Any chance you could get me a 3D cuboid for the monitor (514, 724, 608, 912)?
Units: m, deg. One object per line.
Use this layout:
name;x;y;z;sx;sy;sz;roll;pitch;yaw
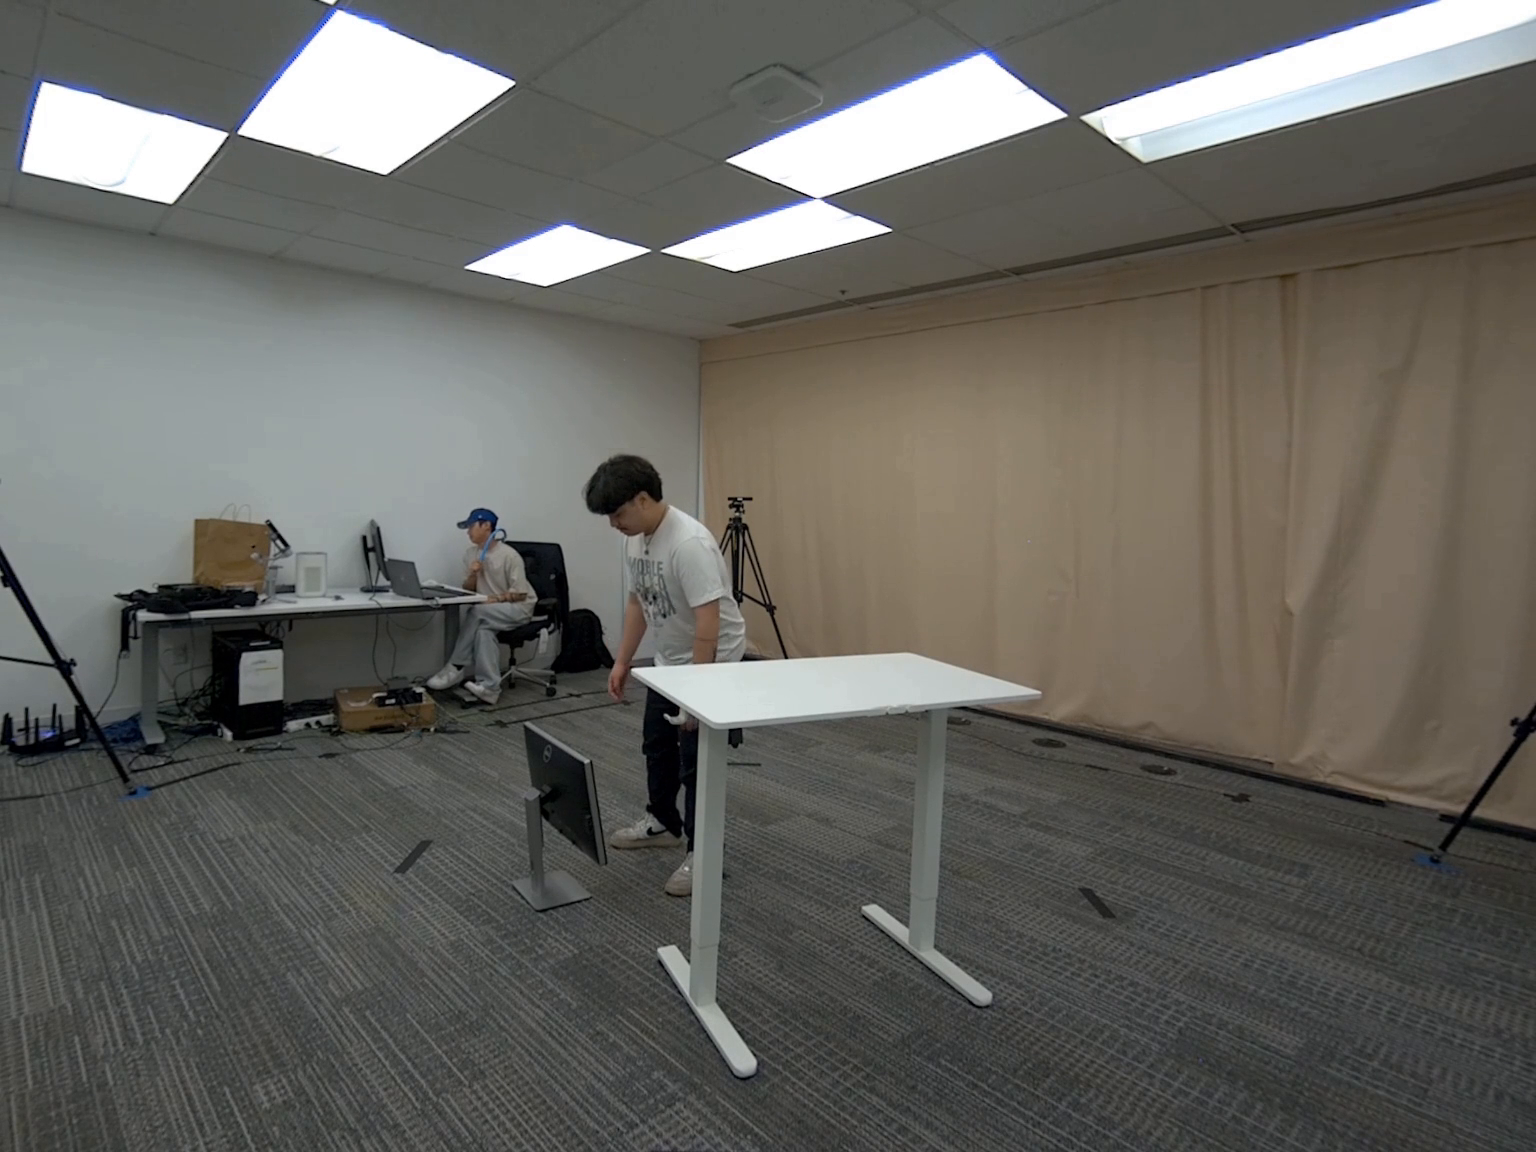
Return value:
monitor;-0.782;0.849;2.916;0.206;0.551;0.579;-7;8;-35
